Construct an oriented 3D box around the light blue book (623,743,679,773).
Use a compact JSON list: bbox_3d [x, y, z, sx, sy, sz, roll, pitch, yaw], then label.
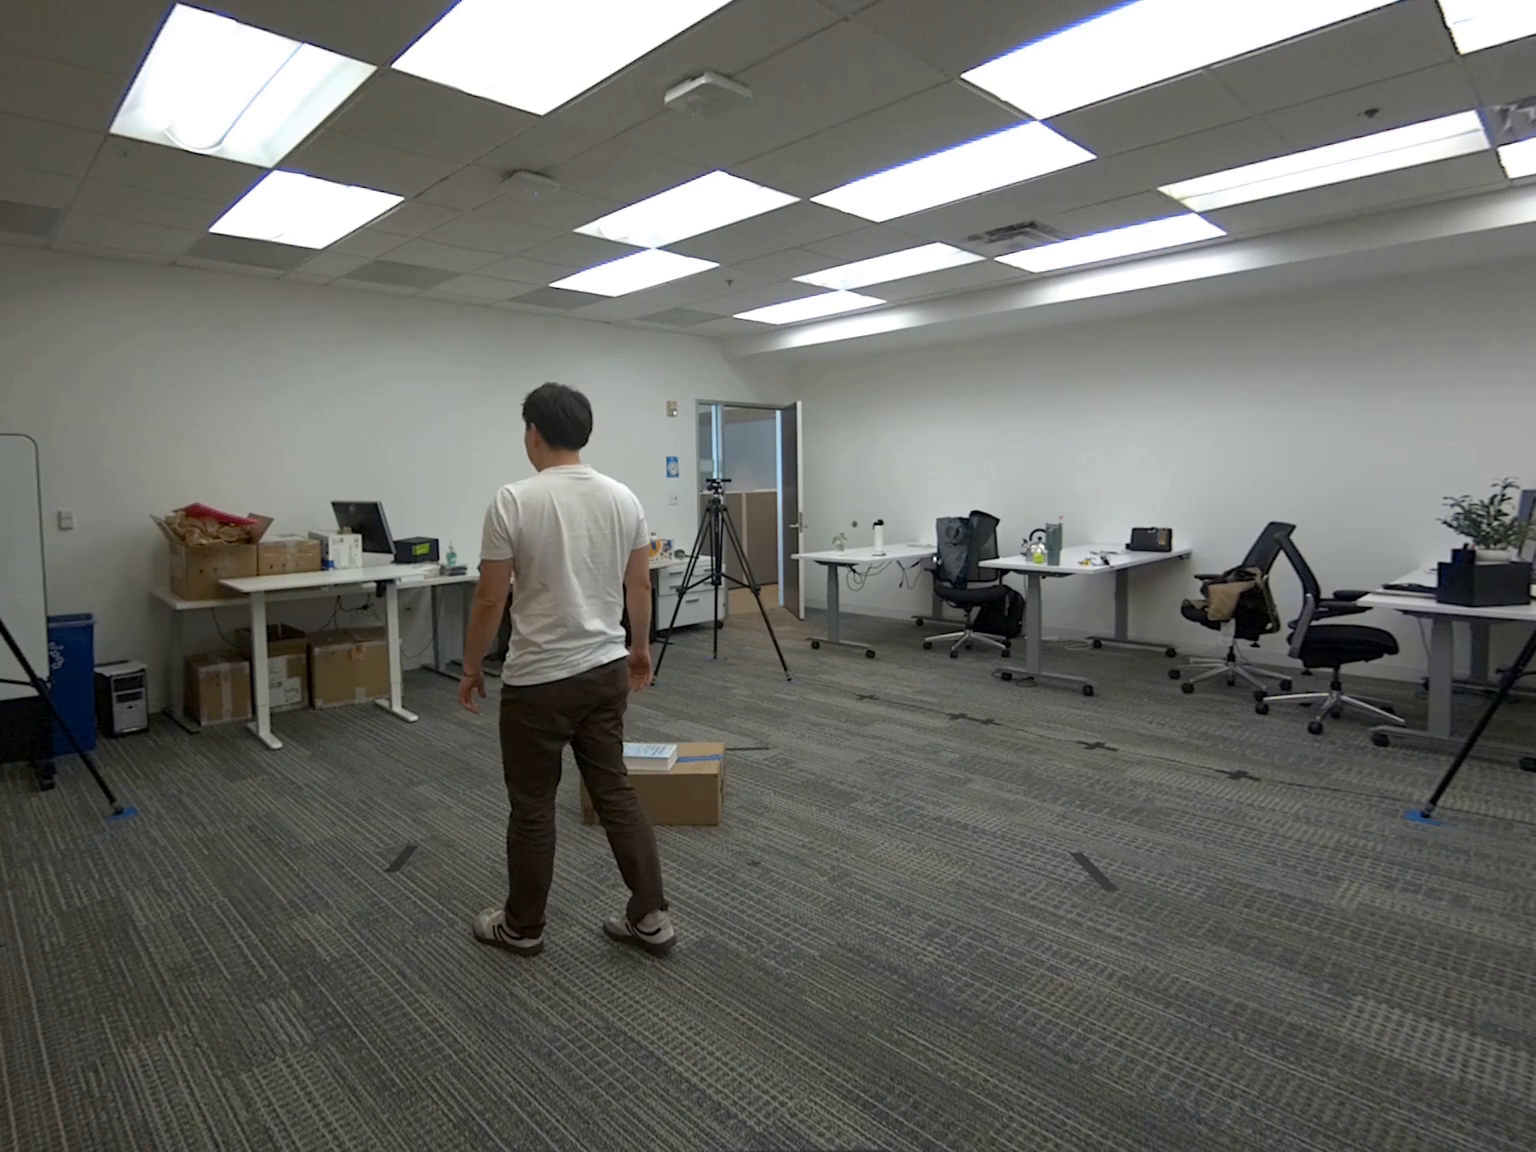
[{"bbox_3d":[-0.526,0.762,3.618,0.263,0.059,0.190,0,5,7],"label":"light blue book"}]
